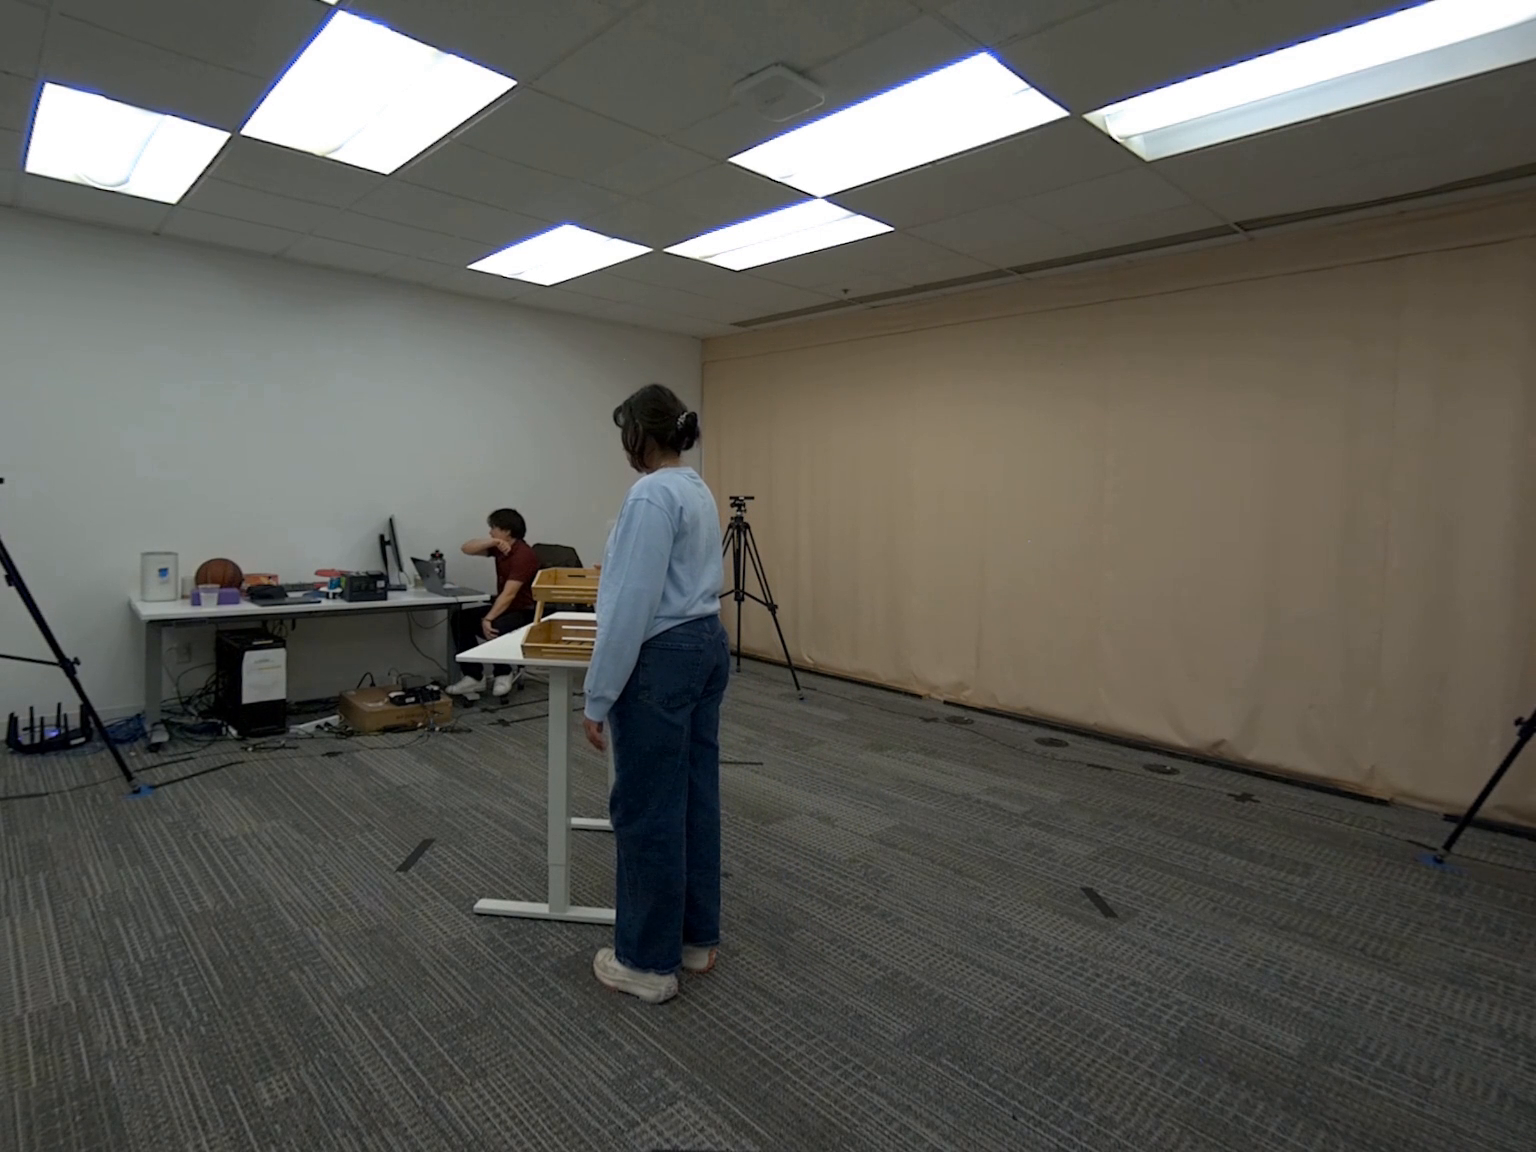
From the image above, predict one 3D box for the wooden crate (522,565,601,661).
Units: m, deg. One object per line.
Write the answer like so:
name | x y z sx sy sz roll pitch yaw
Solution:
wooden crate | -0.612 0.117 2.715 0.326 0.273 0.301 3 3 7
